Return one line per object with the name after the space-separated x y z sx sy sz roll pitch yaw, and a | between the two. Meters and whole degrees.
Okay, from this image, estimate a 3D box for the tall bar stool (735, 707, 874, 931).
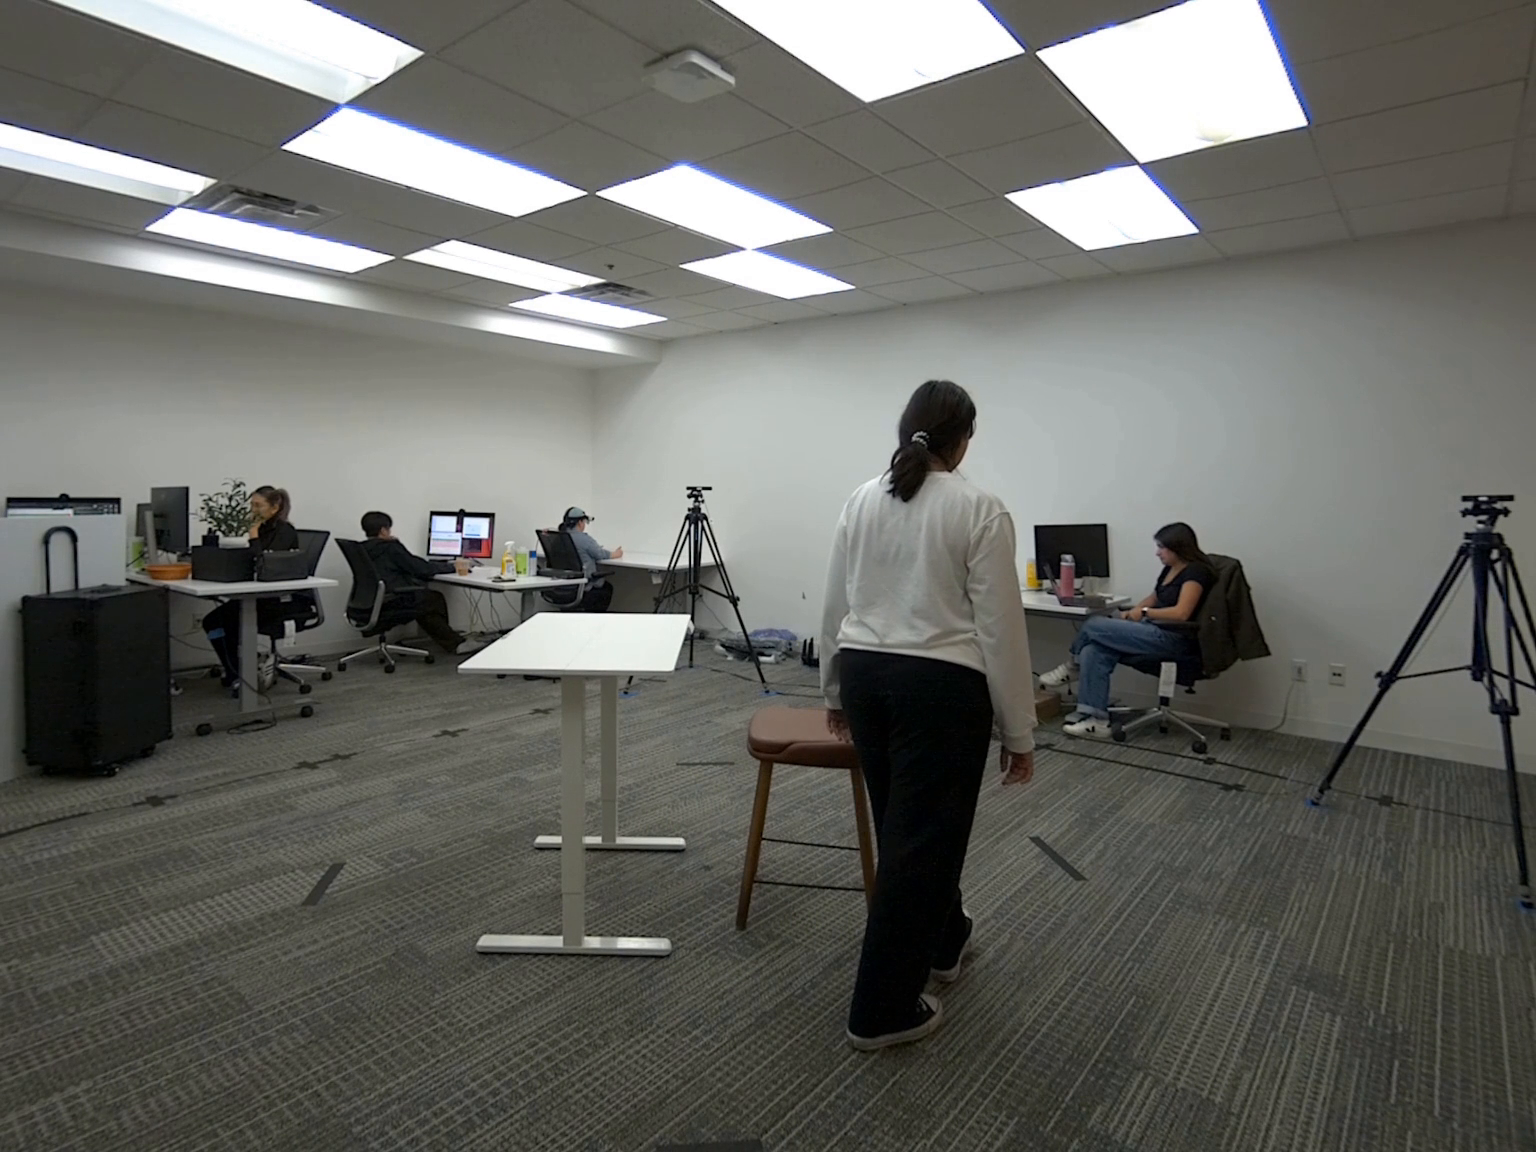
0.156 0.667 2.820 0.472 0.887 0.454 4 4 7 | tall bar stool
